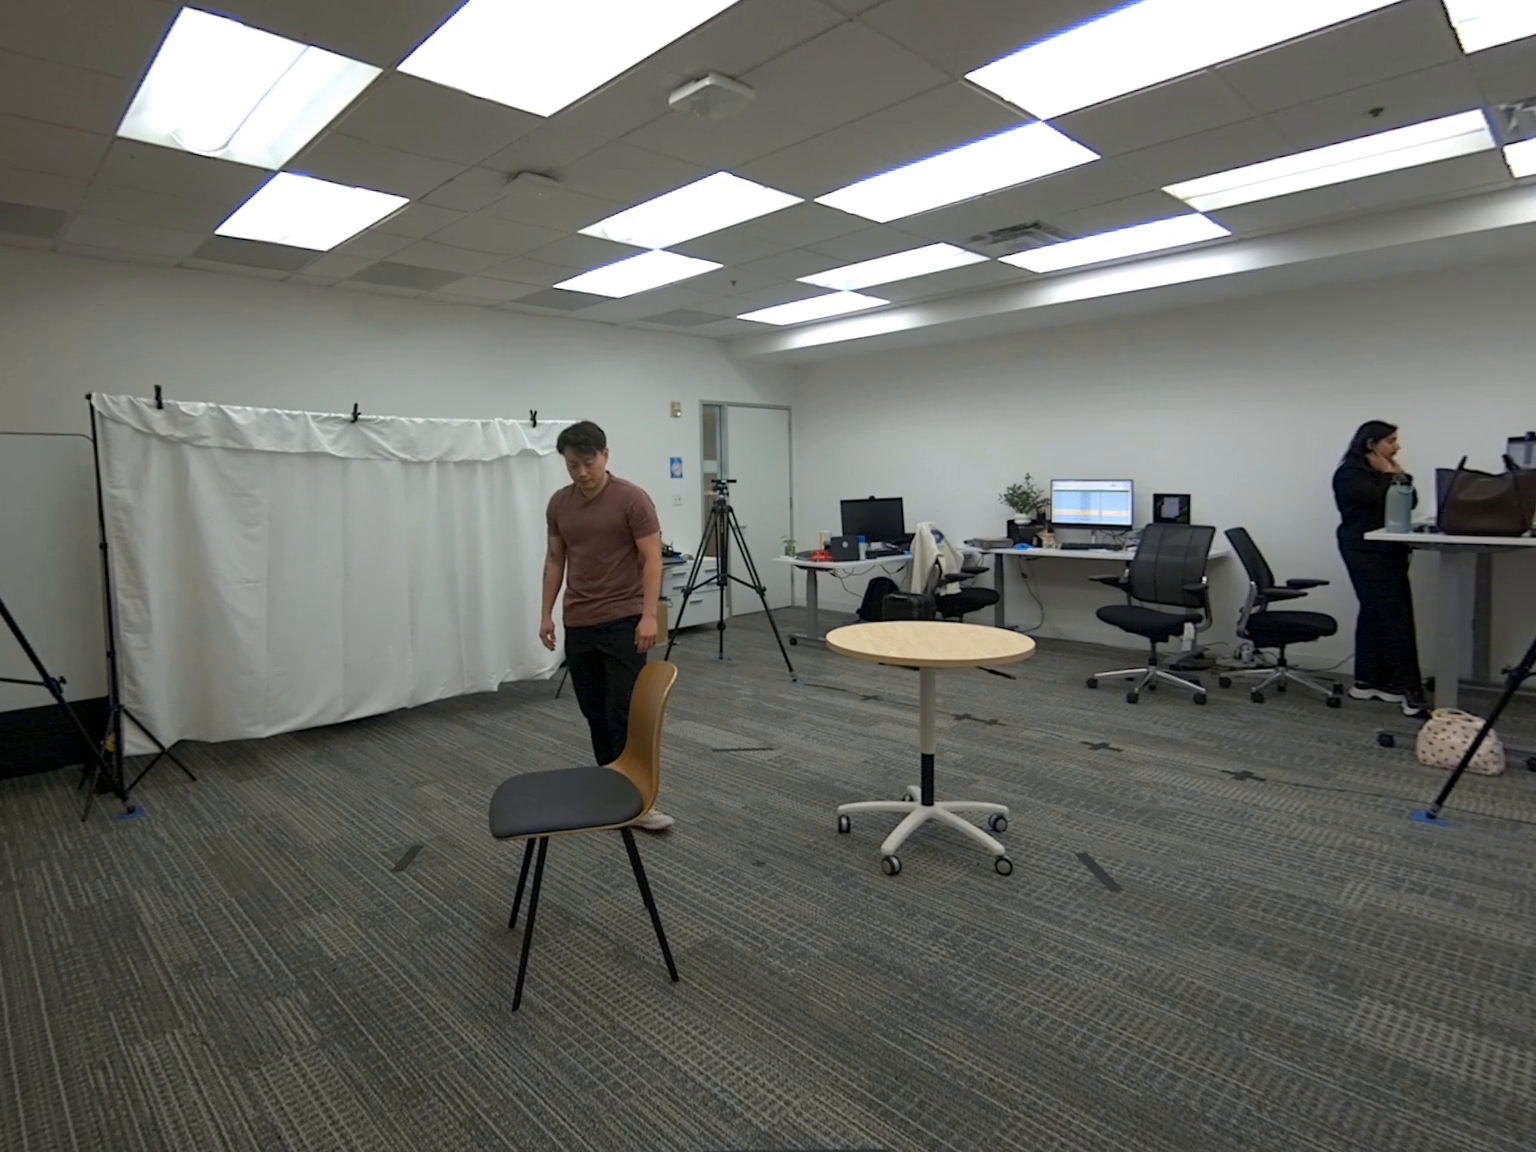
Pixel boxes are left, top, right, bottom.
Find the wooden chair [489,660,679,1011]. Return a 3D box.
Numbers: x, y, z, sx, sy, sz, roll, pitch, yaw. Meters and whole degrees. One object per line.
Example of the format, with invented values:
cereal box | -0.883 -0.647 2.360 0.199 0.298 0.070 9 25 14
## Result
wooden chair | -0.544 0.700 2.507 0.514 0.875 0.487 1 3 -18
